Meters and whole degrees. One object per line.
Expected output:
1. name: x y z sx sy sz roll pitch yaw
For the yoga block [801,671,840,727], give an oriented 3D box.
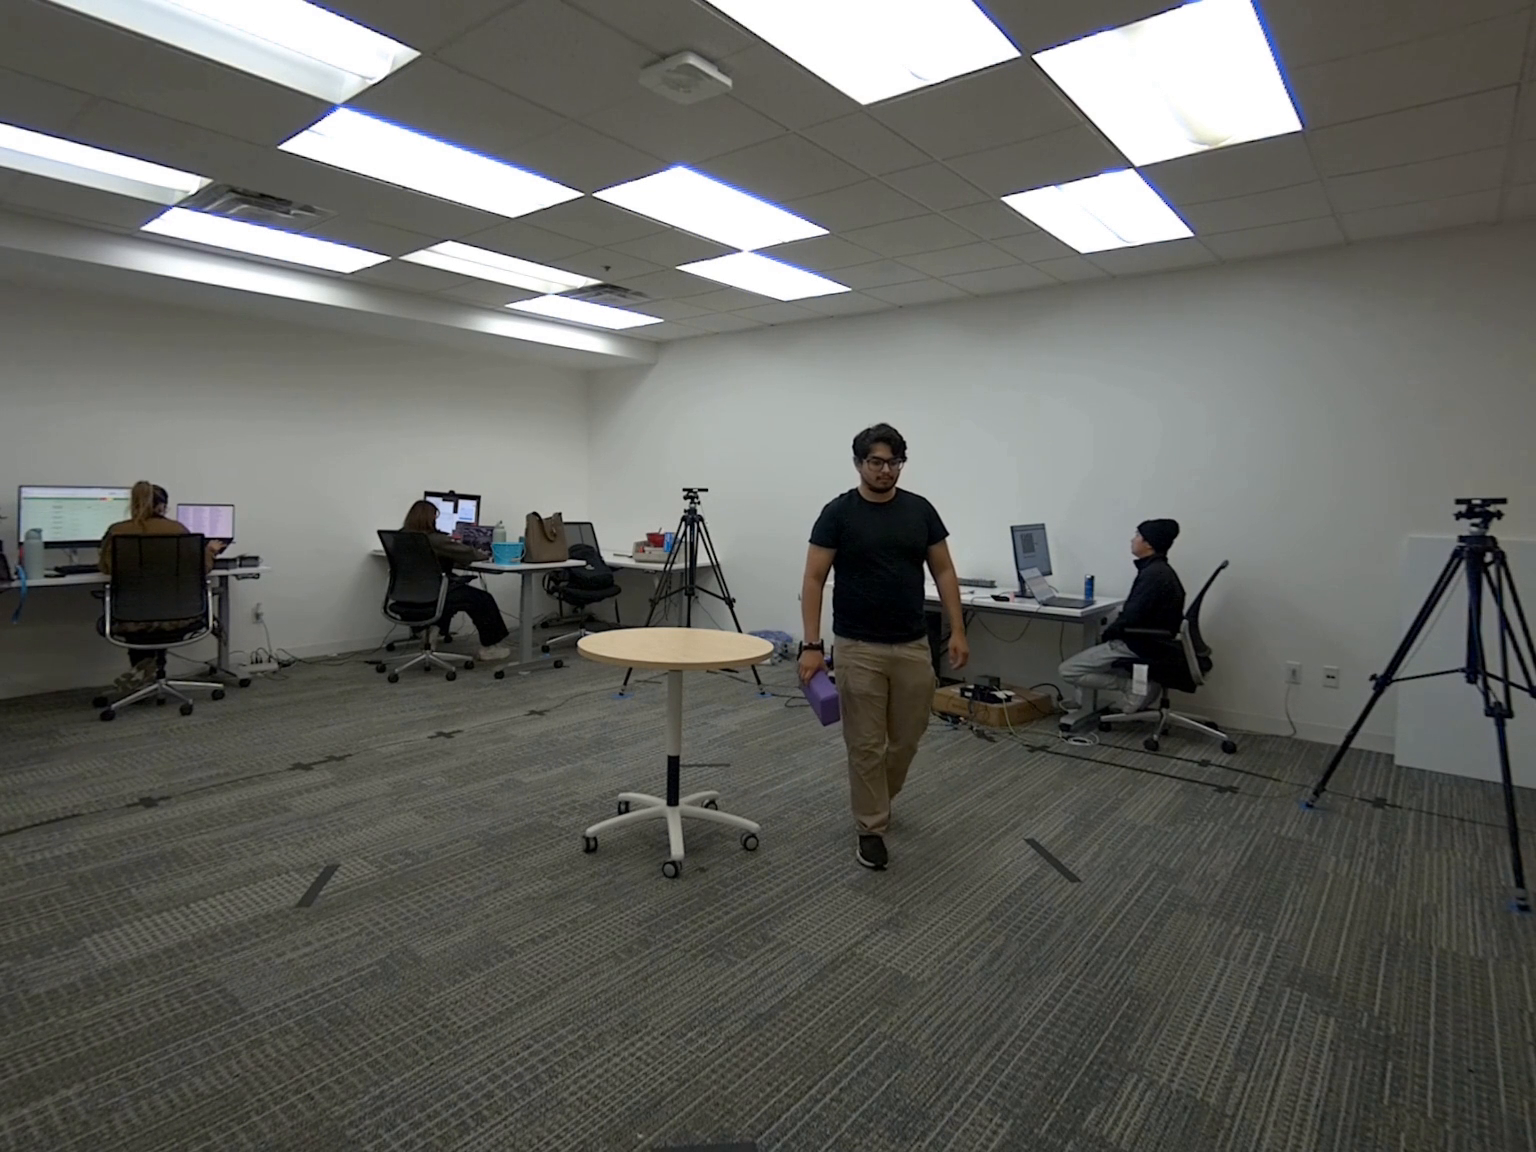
1. yoga block: 0.185 0.433 3.200 0.076 0.144 0.238 -18 37 -12
